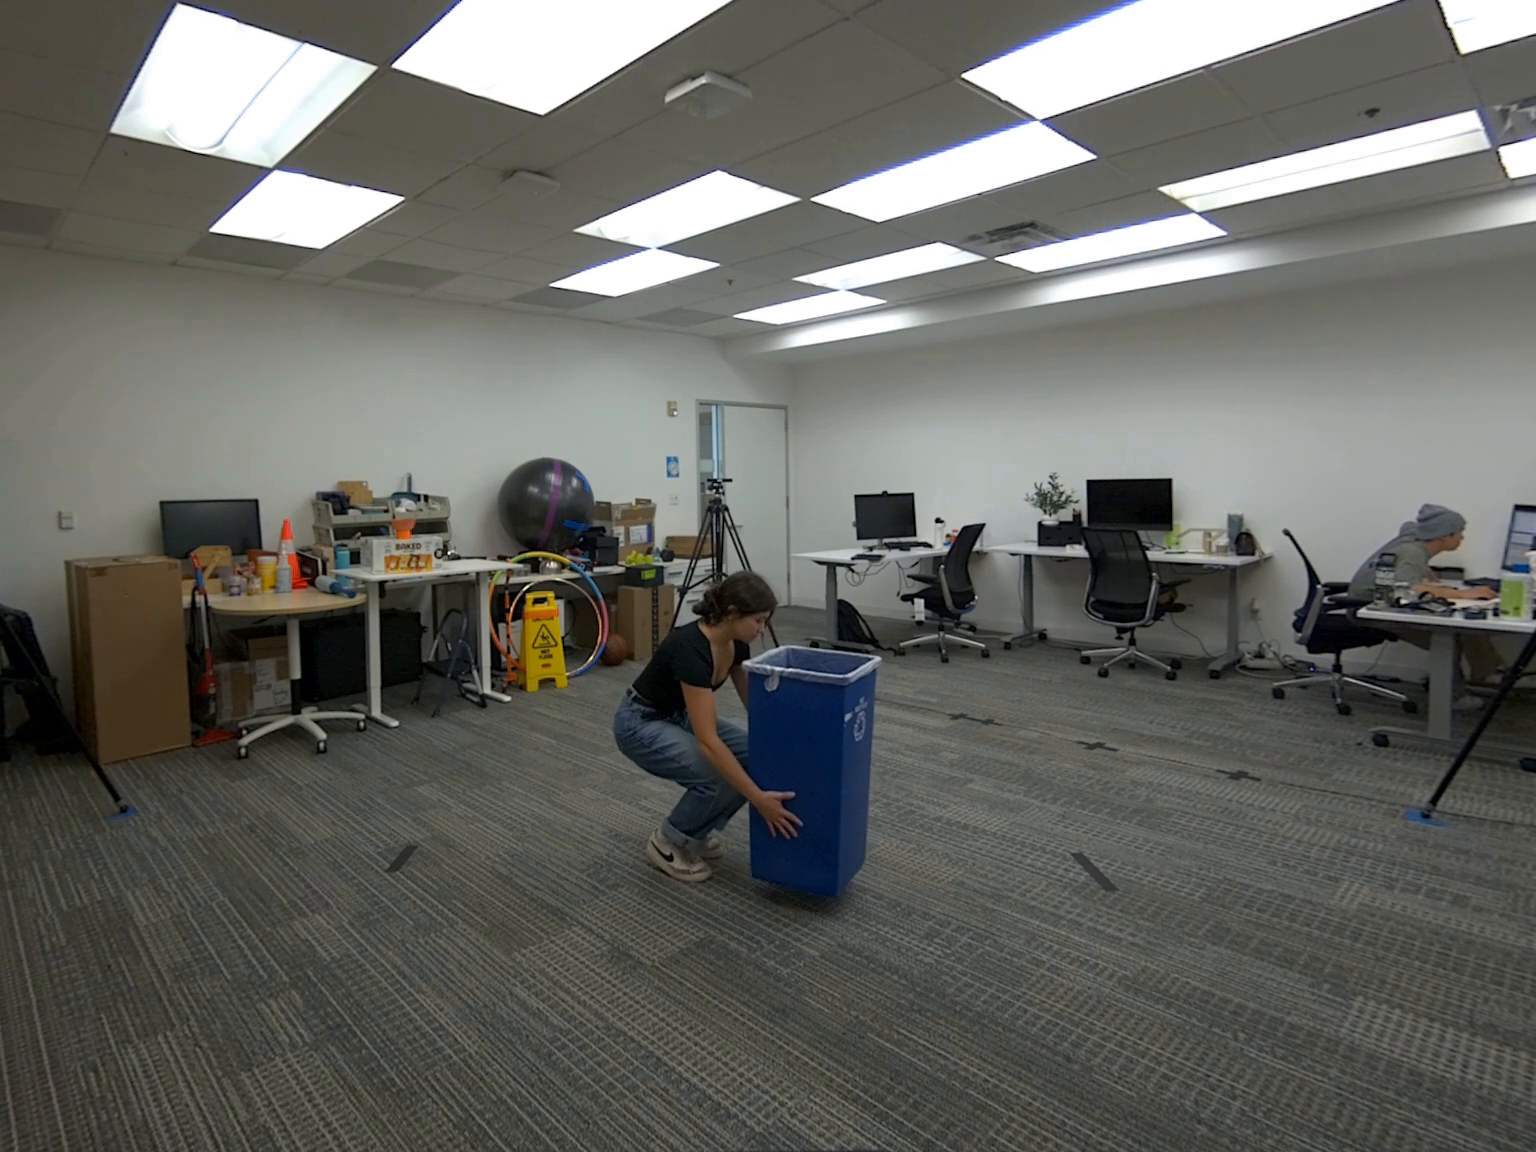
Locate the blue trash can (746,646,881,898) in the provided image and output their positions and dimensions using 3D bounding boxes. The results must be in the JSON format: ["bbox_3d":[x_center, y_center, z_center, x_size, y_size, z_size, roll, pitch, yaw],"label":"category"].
[{"bbox_3d":[0.146,0.625,2.856,0.387,0.710,0.366,3,5,26],"label":"blue trash can"}]
